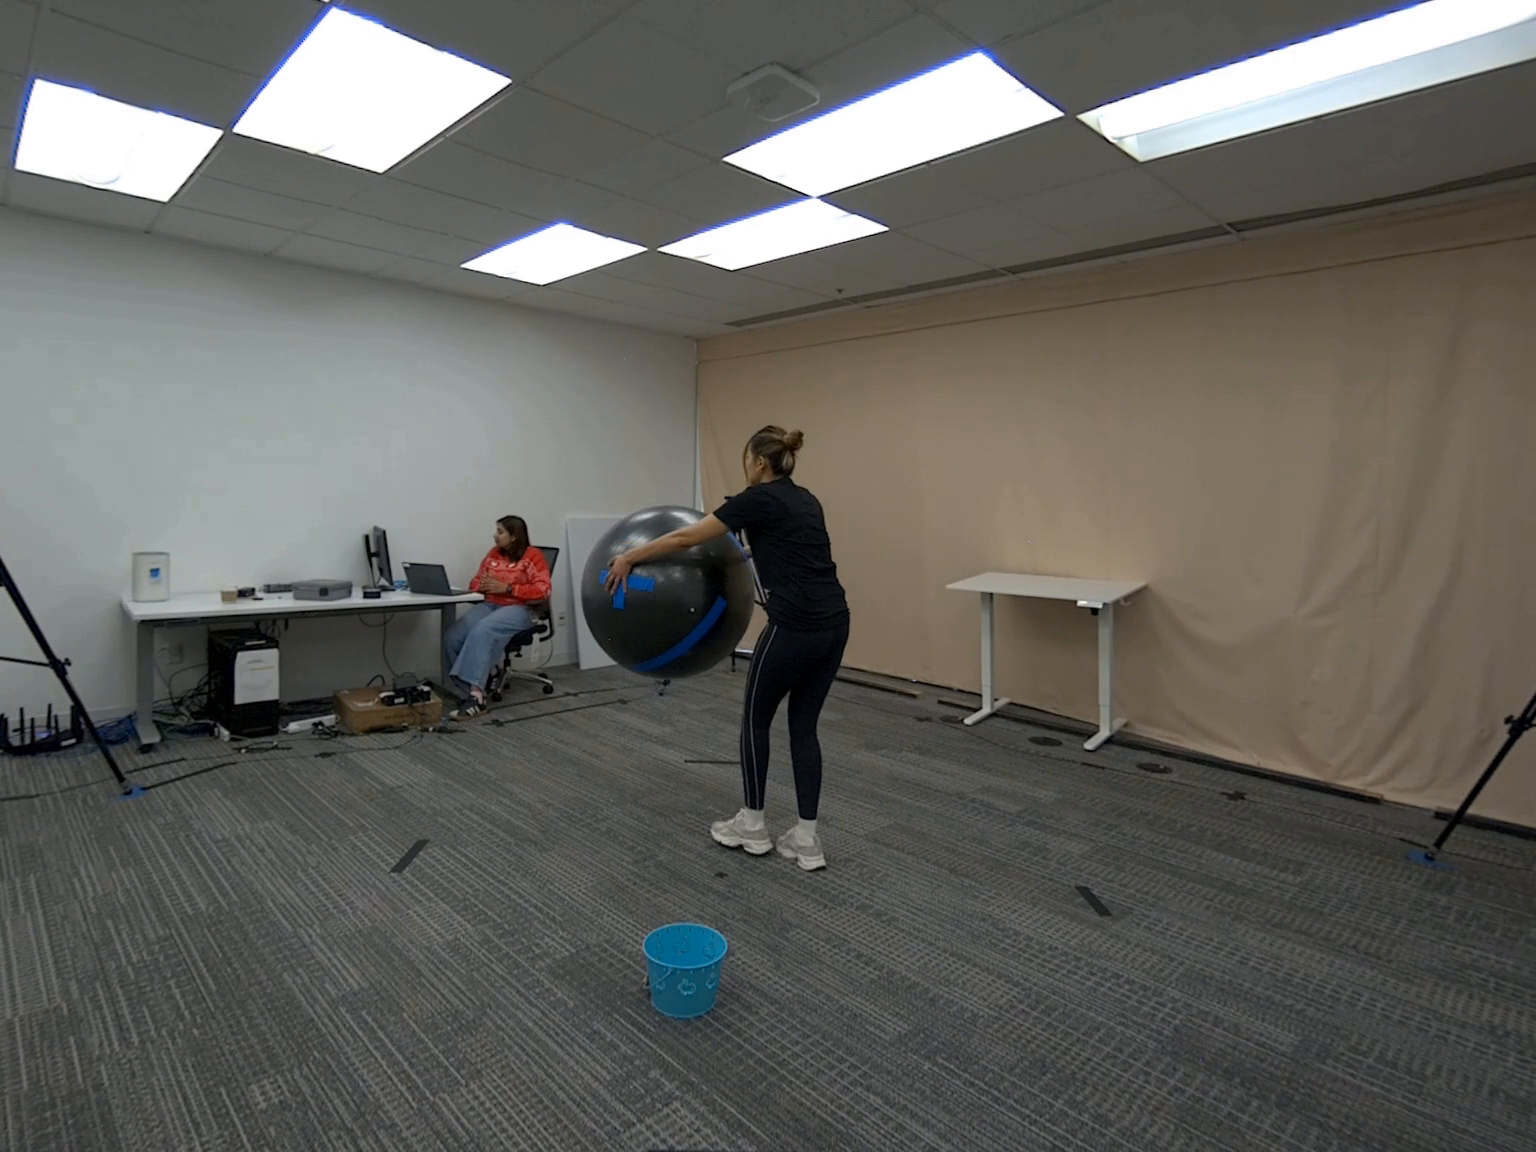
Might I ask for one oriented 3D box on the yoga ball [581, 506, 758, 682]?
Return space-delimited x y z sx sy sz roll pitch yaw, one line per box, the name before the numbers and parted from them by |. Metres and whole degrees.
yoga ball | -0.446 0.083 3.695 0.757 0.756 0.761 1 4 -1
